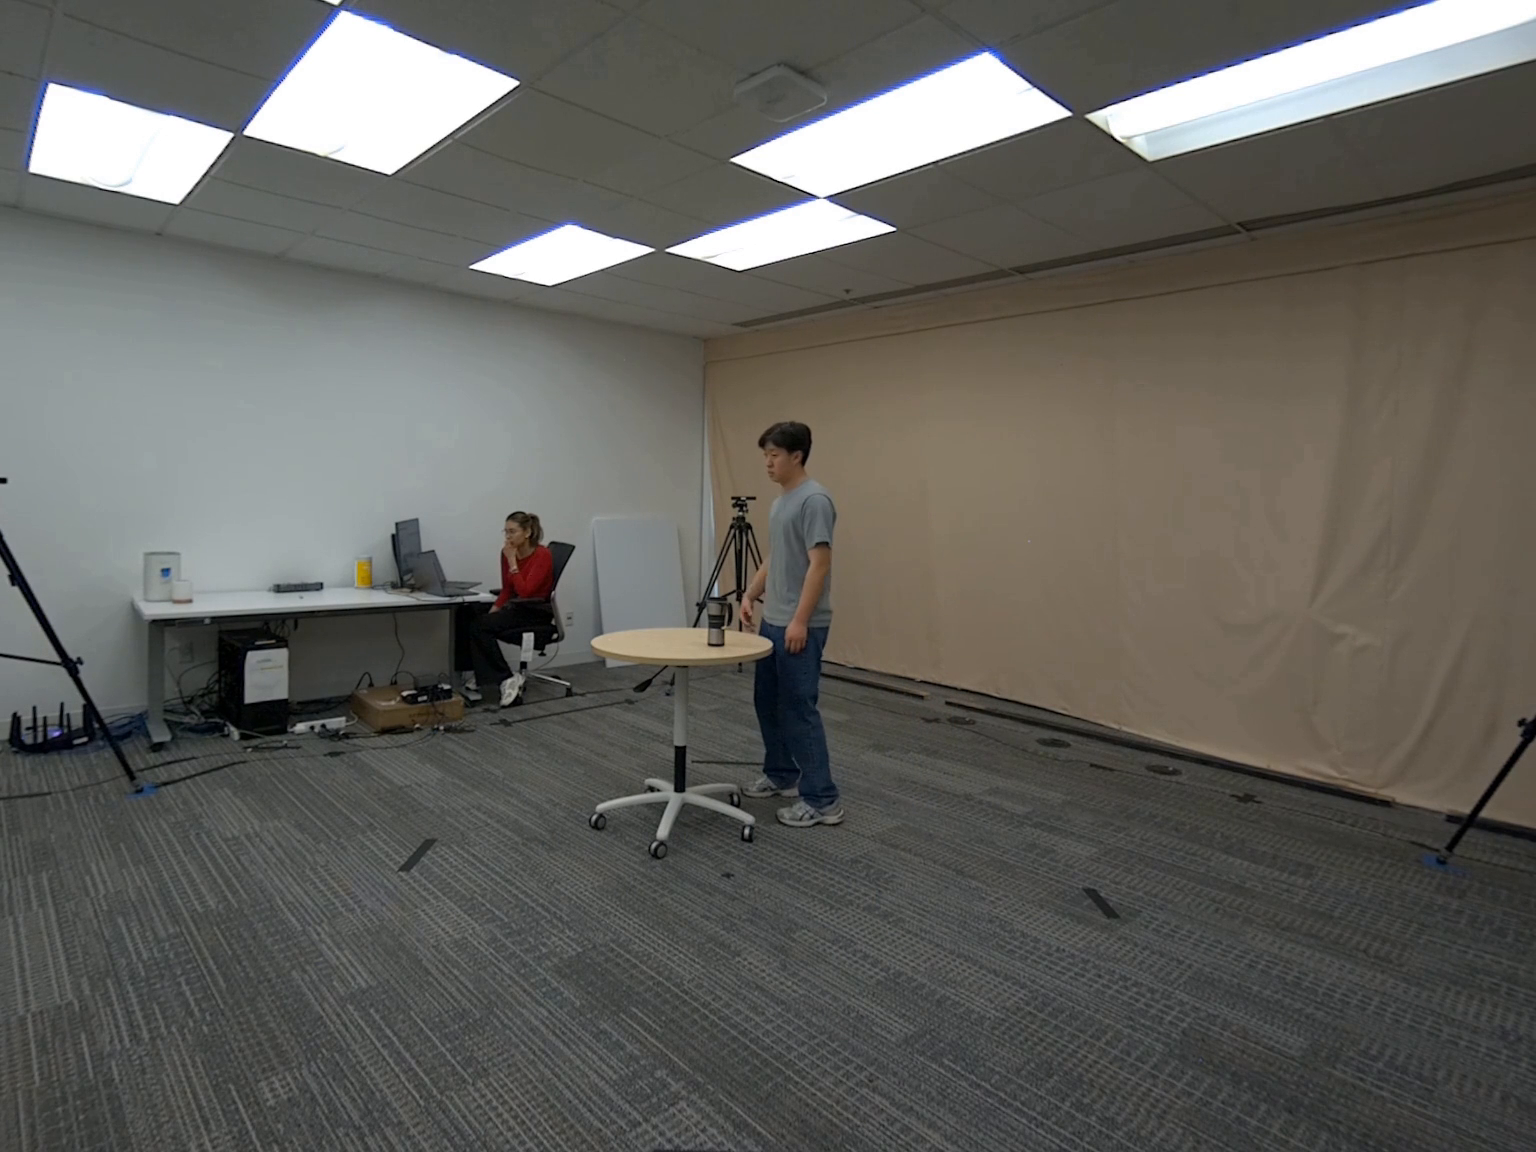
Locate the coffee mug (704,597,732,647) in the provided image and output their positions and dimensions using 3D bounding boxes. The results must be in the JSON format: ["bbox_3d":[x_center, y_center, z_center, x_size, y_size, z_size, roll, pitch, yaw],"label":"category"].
[{"bbox_3d":[-0.211,0.190,3.455,0.086,0.203,0.124,4,-1,-22],"label":"coffee mug"}]
